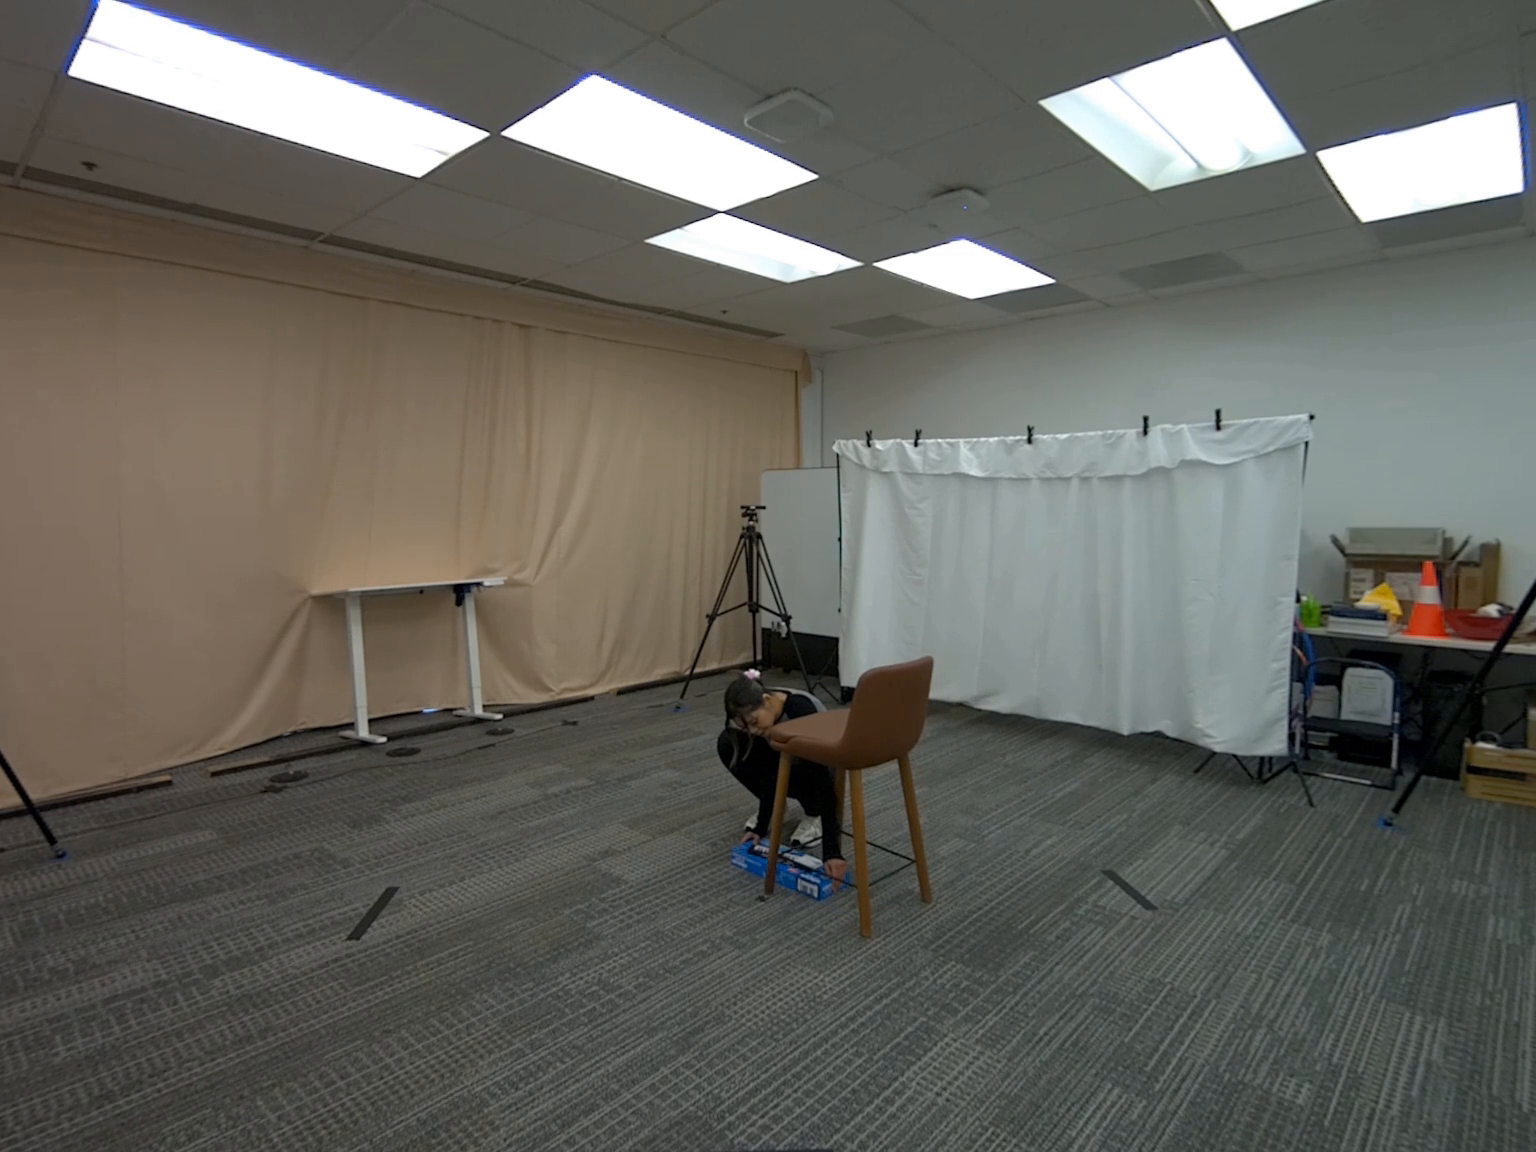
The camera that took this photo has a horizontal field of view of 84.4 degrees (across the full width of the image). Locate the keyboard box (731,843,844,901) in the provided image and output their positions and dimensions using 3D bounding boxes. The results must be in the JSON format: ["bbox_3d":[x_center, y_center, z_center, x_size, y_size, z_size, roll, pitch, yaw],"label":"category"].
[{"bbox_3d":[0.087,1.093,3.180,0.452,0.059,0.171,5,9,44],"label":"keyboard box"}]
